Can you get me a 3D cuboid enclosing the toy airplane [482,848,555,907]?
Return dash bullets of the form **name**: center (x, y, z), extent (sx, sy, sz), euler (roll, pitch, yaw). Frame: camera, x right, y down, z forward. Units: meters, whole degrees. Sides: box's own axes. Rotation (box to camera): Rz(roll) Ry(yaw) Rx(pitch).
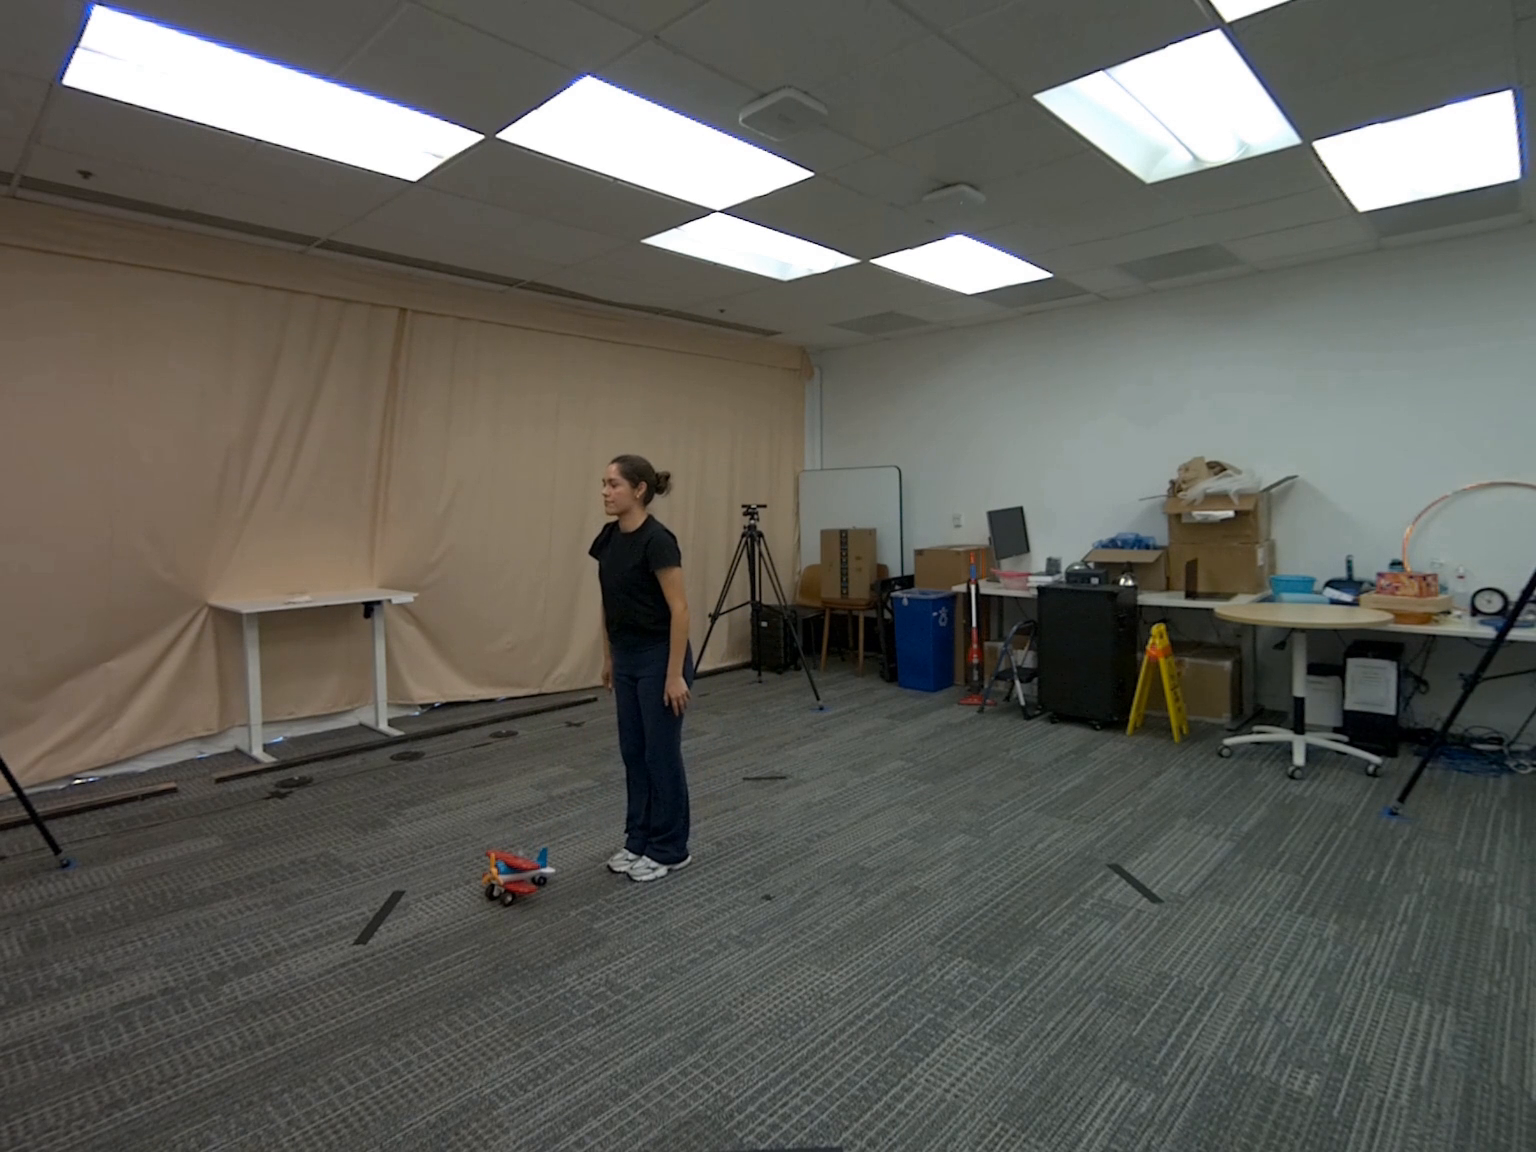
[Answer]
- **toy airplane**: center (-0.914, 1.082, 3.063), extent (0.254, 0.156, 0.257), euler (-1, 5, 8)
